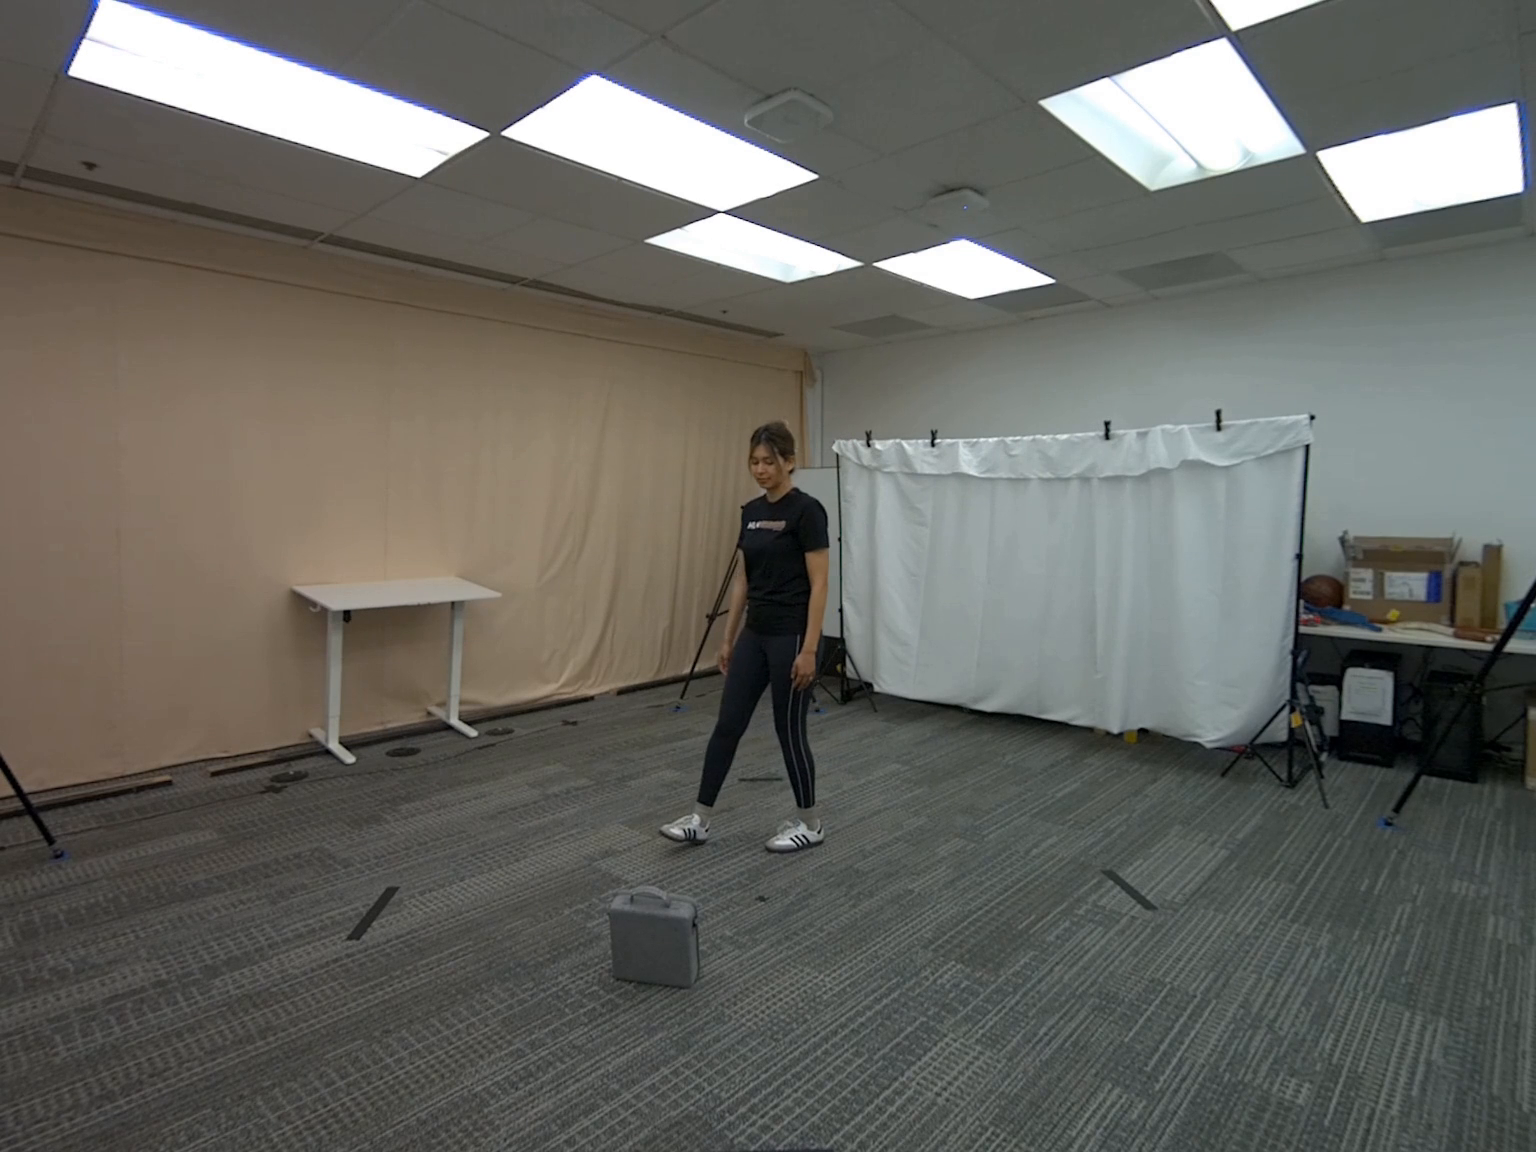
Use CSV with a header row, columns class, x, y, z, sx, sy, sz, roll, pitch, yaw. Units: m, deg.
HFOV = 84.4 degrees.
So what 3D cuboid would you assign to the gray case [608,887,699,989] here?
class,x,y,z,sx,sy,sz,roll,pitch,yaw
gray case,-0.331,1.060,2.461,0.260,0.258,0.104,-1,12,12
